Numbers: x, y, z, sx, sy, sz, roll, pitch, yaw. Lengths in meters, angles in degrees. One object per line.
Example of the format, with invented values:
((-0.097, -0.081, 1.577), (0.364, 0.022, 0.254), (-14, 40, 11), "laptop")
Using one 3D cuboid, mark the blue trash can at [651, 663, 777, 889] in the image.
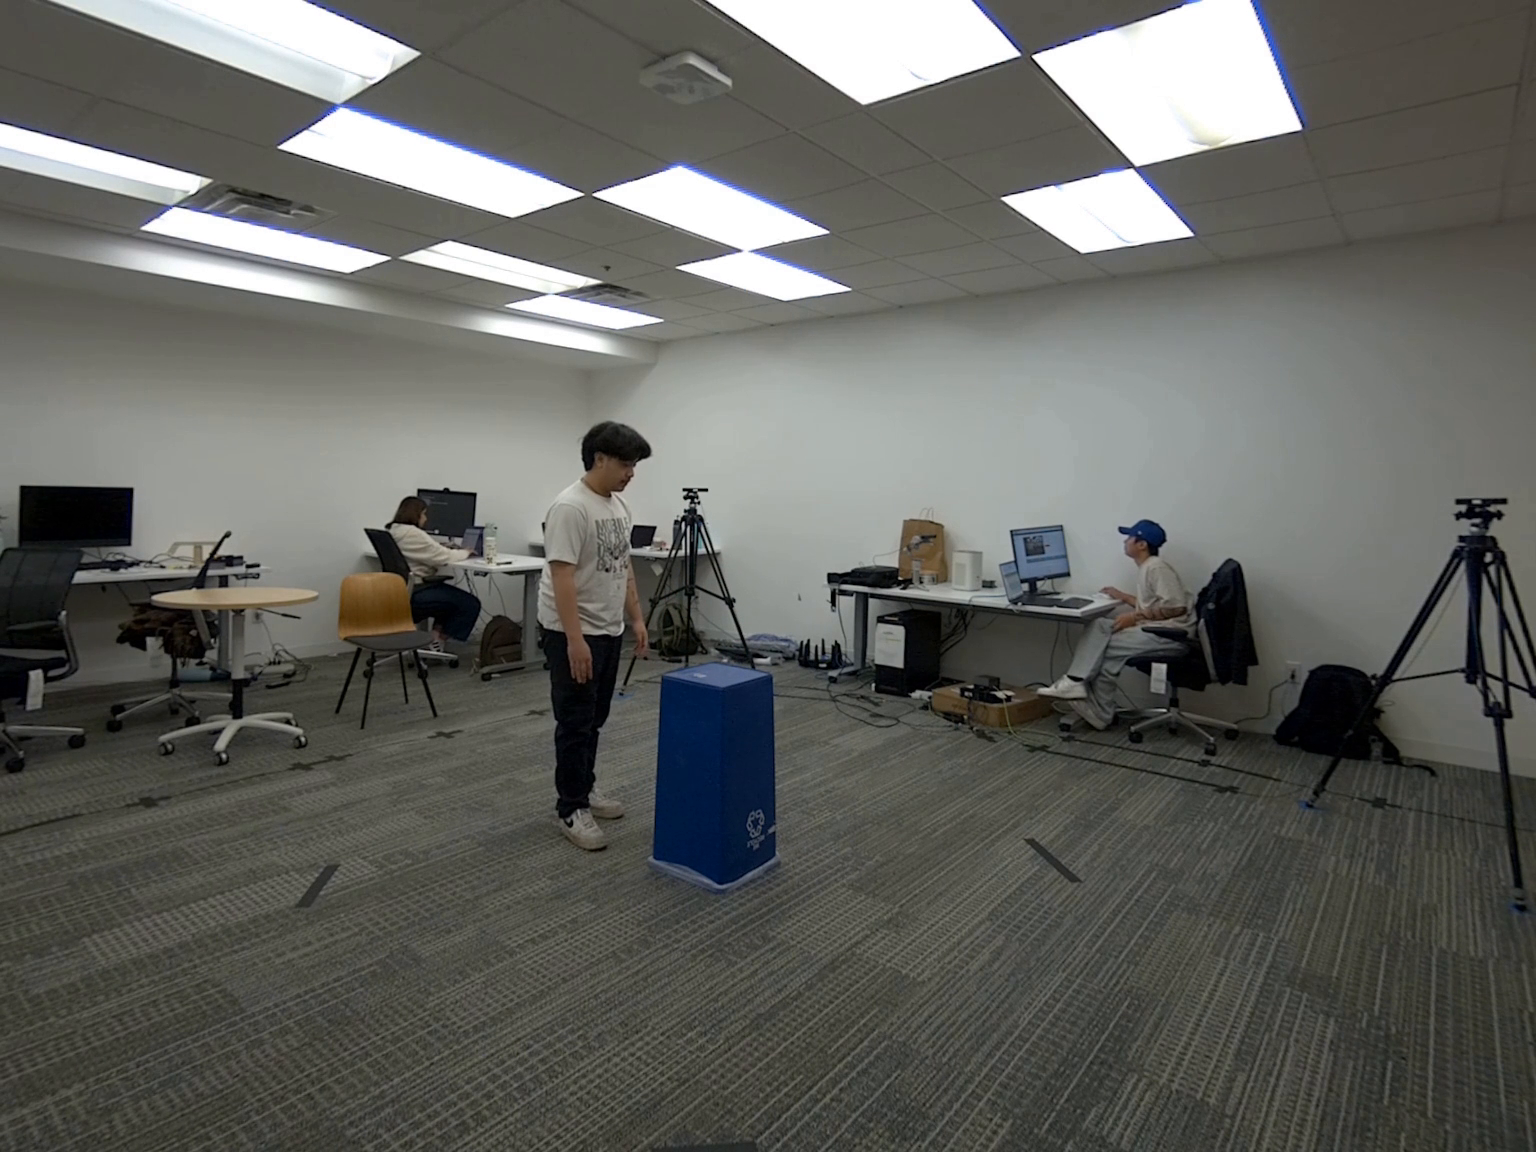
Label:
((-0.208, 0.712, 3.142), (0.390, 0.711, 0.363), (3, 5, 38), "blue trash can")
